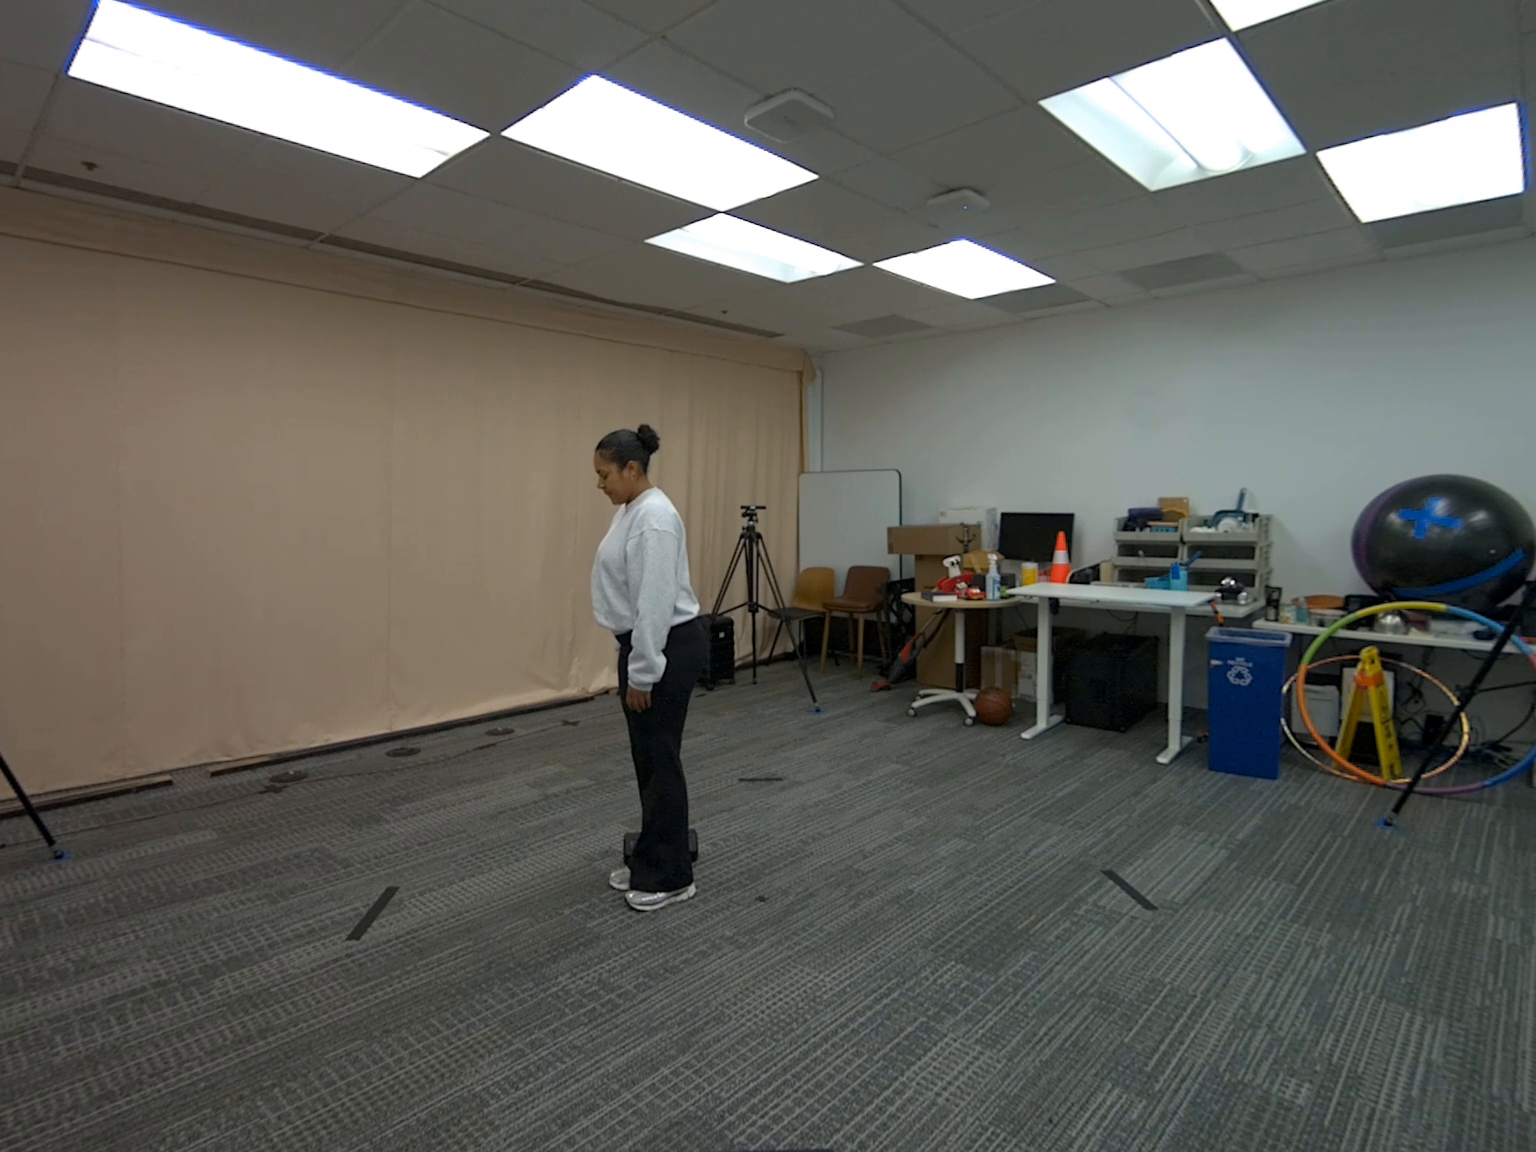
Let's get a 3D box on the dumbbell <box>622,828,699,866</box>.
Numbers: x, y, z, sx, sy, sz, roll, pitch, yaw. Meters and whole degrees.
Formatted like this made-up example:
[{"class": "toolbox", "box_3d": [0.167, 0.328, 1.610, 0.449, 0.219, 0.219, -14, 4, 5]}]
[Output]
[{"class": "dumbbell", "box_3d": [-0.423, 1.065, 3.305, 0.291, 0.121, 0.111, -1, 35, -7]}]
